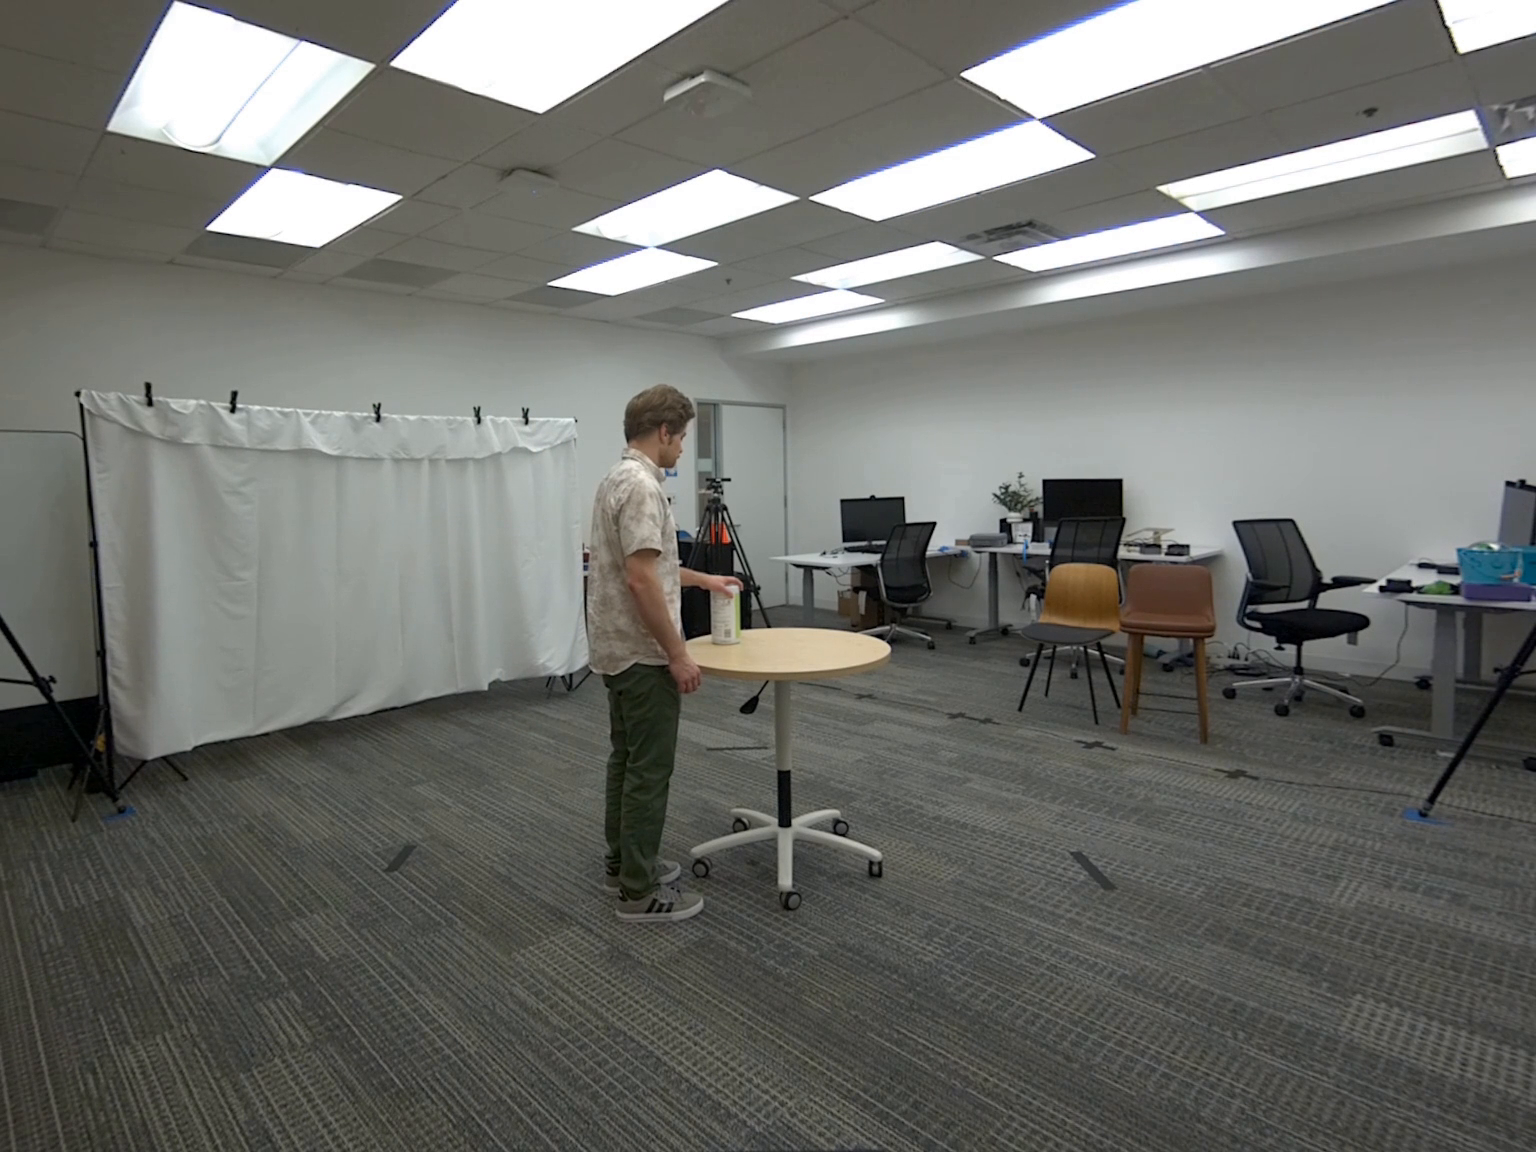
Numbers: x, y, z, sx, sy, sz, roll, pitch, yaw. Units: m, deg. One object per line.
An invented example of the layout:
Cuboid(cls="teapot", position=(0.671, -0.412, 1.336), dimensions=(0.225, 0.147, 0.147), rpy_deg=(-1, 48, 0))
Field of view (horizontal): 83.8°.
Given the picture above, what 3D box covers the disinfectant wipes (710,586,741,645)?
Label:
Cuboid(cls="disinfectant wipes", position=(-0.159, 0.141, 3.167), dimensions=(0.118, 0.217, 0.118), rpy_deg=(-2, 3, -1))
